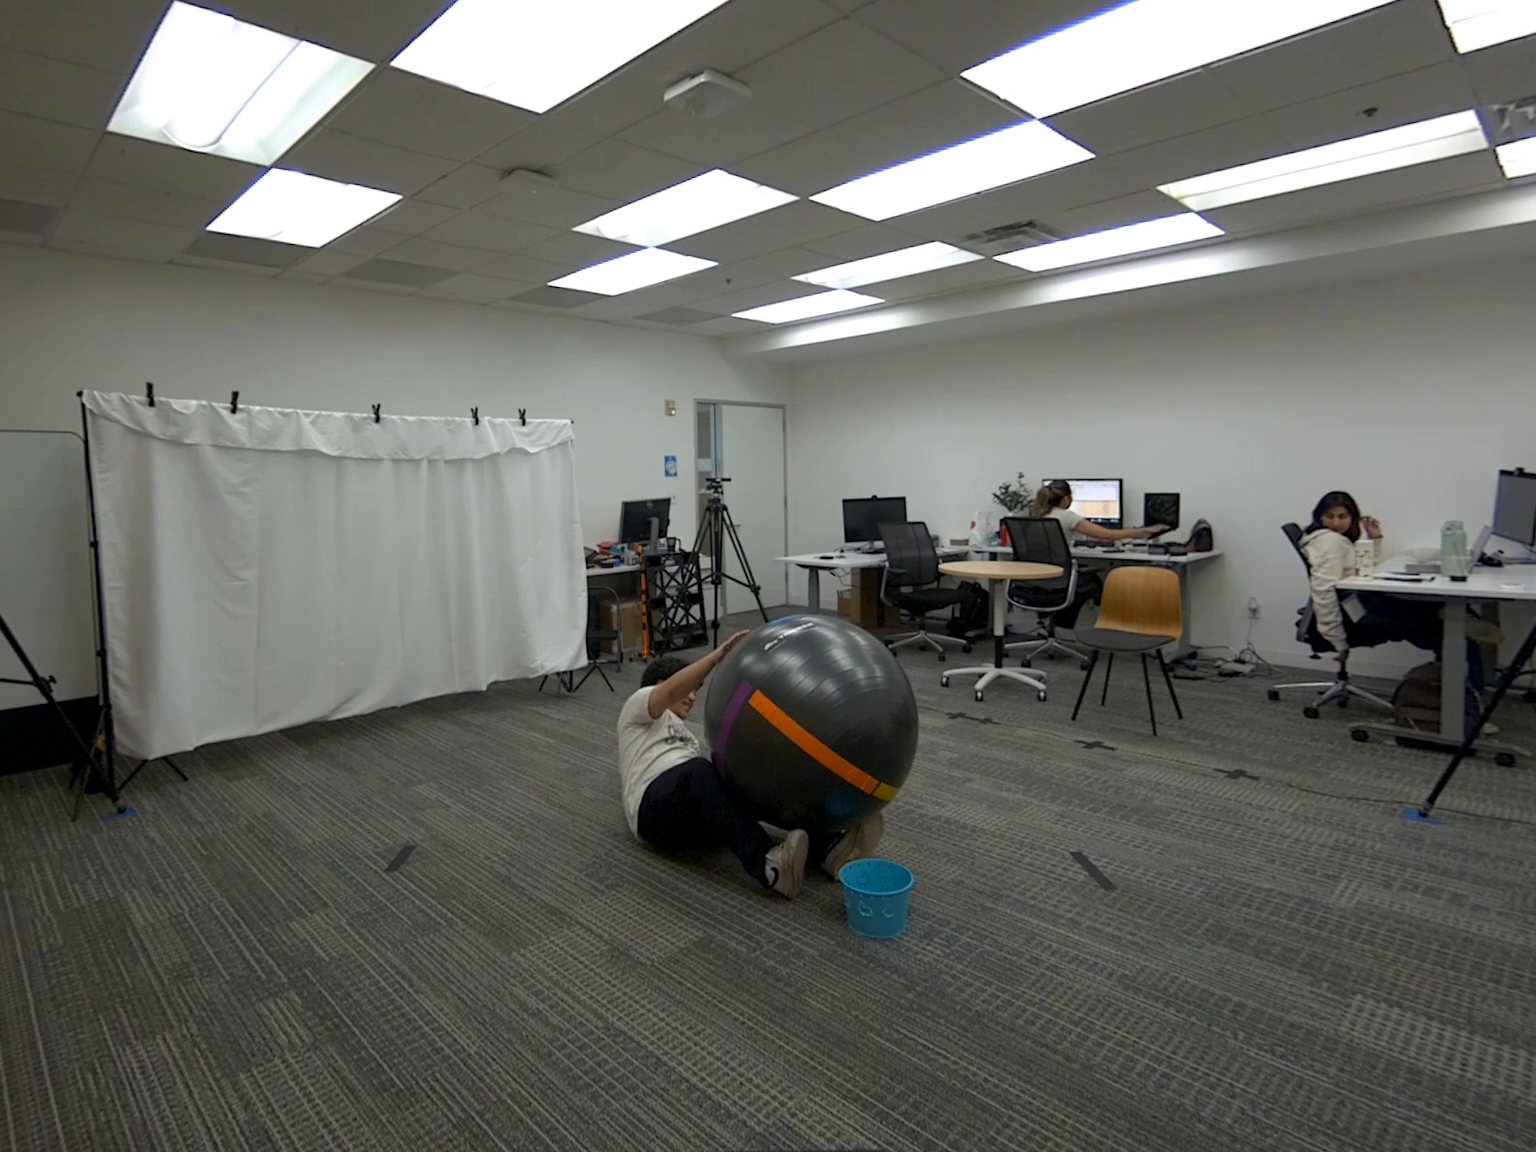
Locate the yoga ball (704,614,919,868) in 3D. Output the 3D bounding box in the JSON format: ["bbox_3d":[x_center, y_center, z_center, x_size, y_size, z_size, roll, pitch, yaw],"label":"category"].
[{"bbox_3d":[0.152,0.514,3.048,0.757,0.755,0.762,-1,5,-2],"label":"yoga ball"}]
